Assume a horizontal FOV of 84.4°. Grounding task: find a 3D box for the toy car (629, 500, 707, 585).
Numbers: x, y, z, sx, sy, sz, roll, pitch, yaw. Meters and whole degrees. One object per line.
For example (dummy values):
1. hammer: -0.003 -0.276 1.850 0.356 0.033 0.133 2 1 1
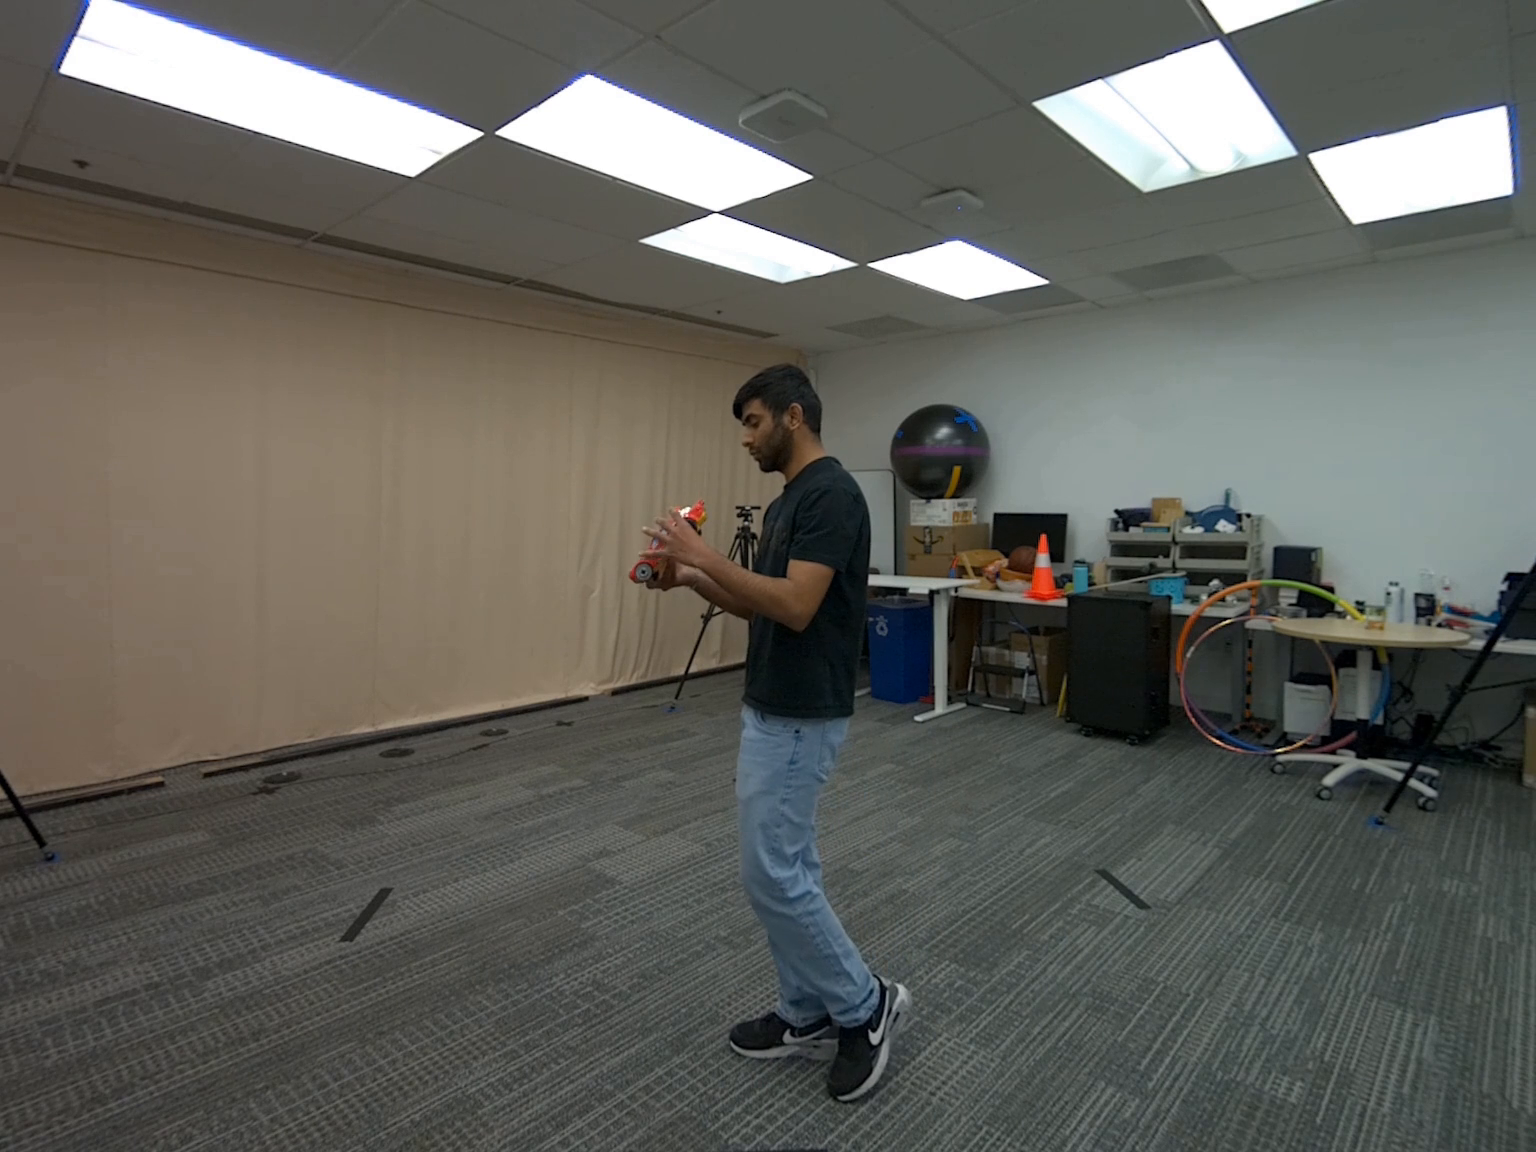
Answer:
1. toy car: -0.229 -0.081 2.045 0.084 0.254 0.129 34 3 6
